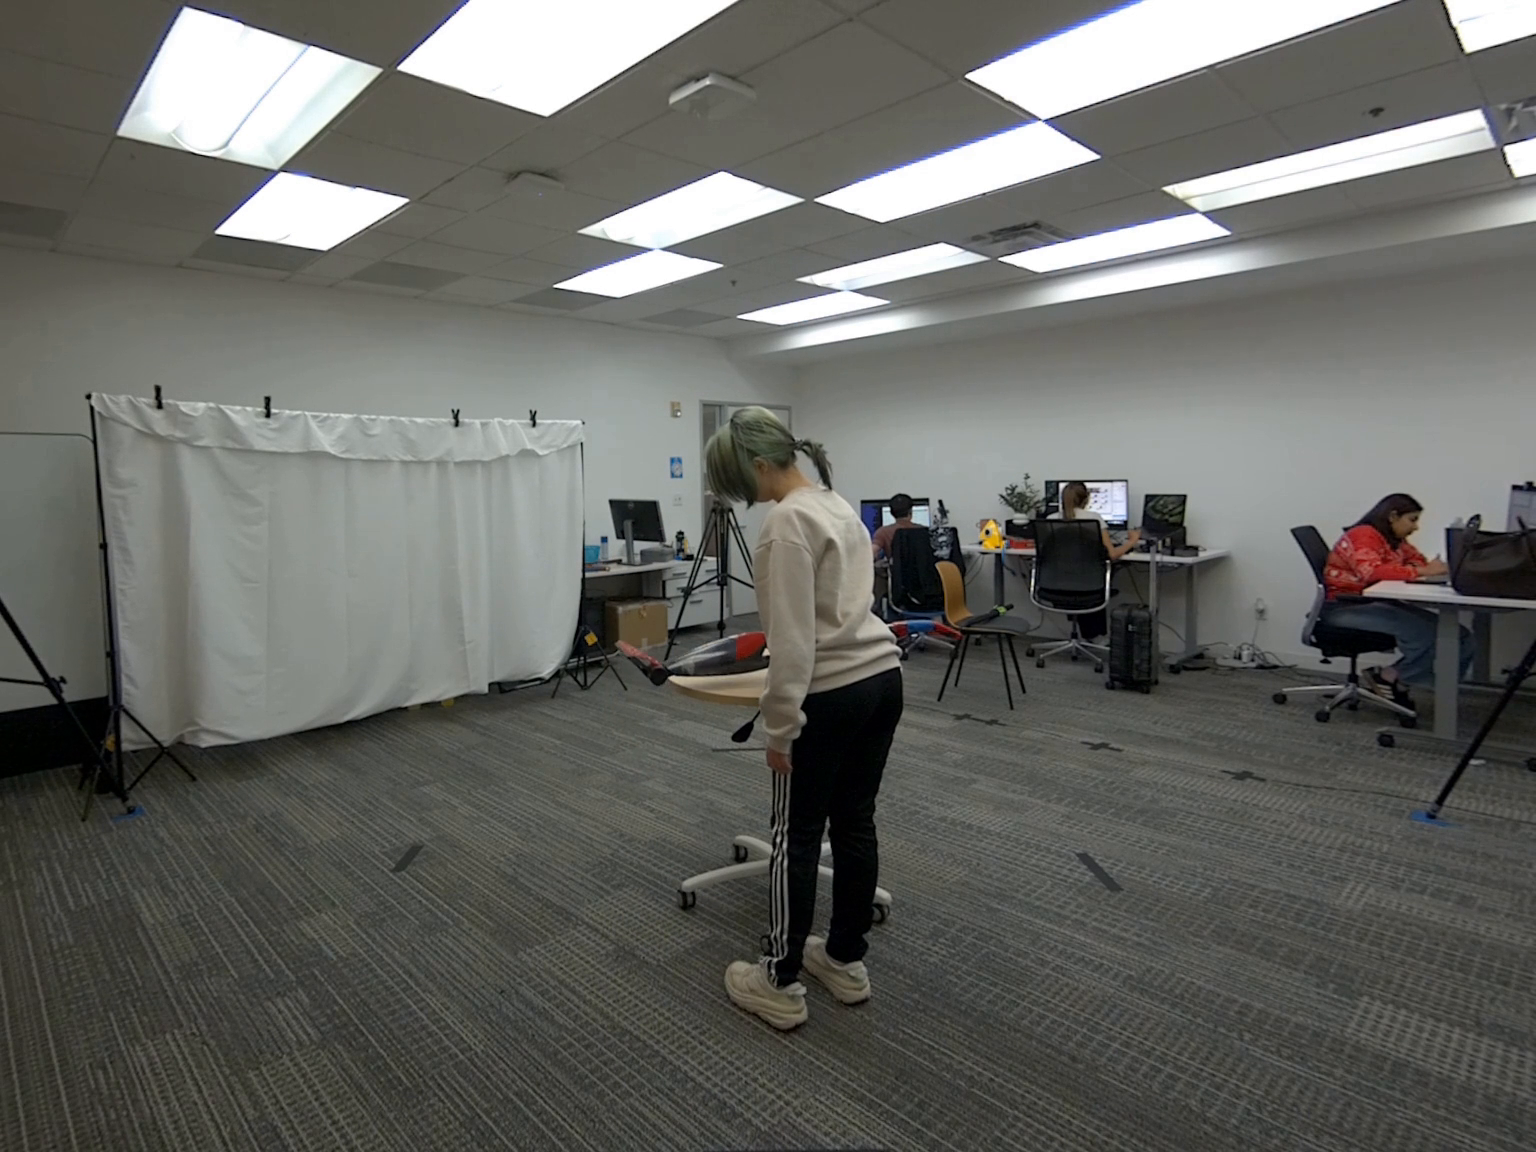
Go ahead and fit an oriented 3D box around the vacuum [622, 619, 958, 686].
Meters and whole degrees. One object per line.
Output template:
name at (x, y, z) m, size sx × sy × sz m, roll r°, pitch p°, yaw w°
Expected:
vacuum at (0.117, 0.241, 2.642) m, size 1.034 × 0.144 × 0.256 m, roll -2°, pitch 1°, yaw -16°
